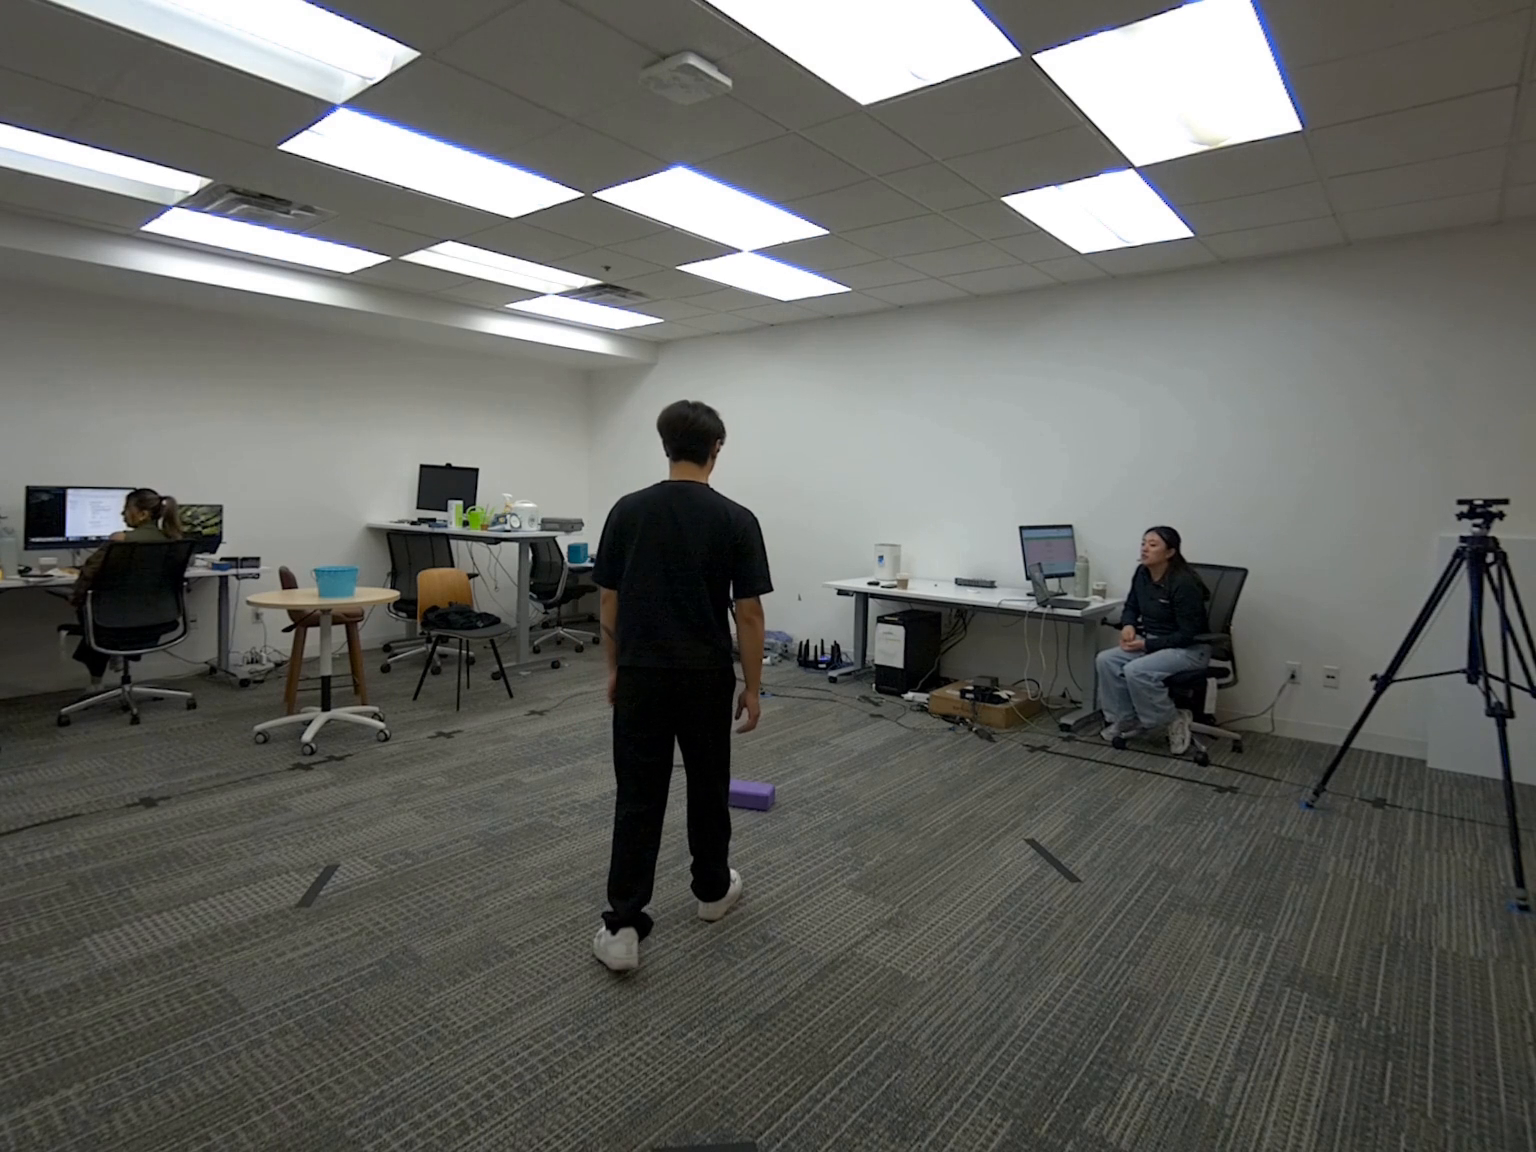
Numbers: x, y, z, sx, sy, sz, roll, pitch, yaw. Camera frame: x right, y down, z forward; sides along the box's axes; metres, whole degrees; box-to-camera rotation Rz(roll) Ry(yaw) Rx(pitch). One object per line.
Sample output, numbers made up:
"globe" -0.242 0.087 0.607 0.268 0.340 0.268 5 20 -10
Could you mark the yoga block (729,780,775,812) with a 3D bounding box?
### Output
"yoga block" -0.104 0.967 3.779 0.233 0.076 0.147 3 6 16
